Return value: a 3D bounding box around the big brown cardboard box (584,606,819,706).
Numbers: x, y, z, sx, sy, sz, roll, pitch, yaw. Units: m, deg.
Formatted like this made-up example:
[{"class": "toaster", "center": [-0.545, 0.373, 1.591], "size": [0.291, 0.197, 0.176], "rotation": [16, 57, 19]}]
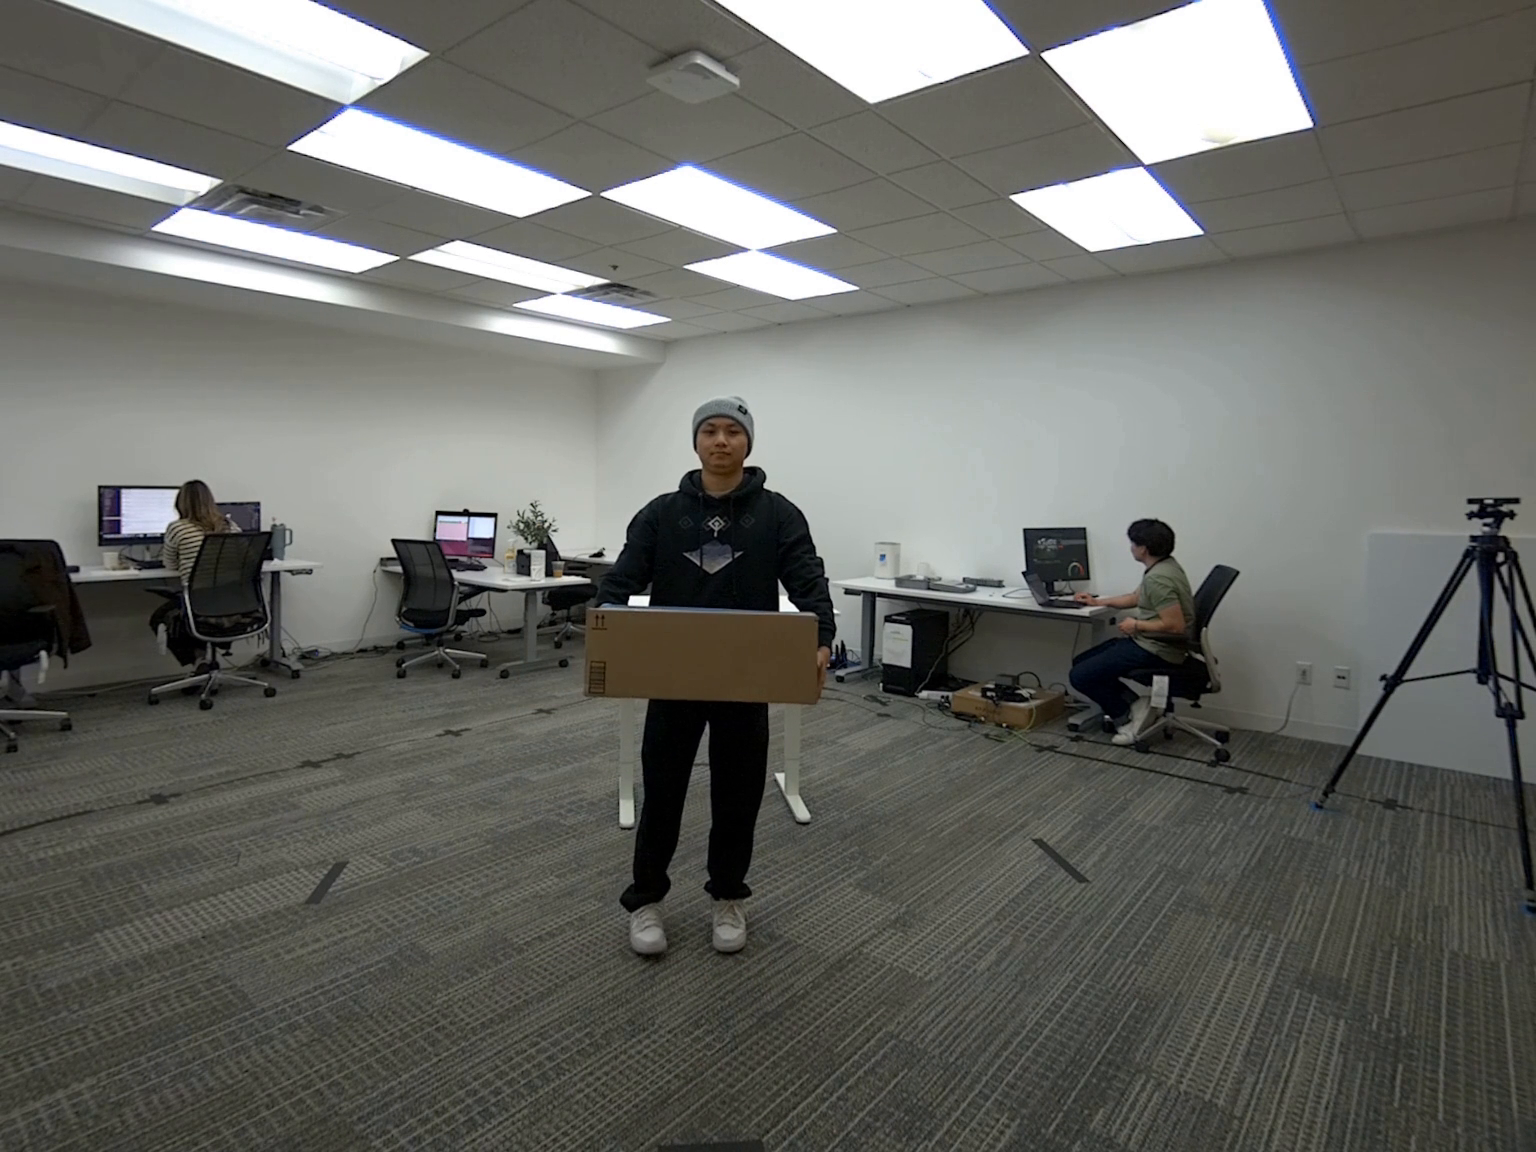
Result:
[{"class": "big brown cardboard box", "center": [-0.183, 0.202, 2.260], "size": [0.590, 0.234, 0.415], "rotation": [3, -3, 1]}]
